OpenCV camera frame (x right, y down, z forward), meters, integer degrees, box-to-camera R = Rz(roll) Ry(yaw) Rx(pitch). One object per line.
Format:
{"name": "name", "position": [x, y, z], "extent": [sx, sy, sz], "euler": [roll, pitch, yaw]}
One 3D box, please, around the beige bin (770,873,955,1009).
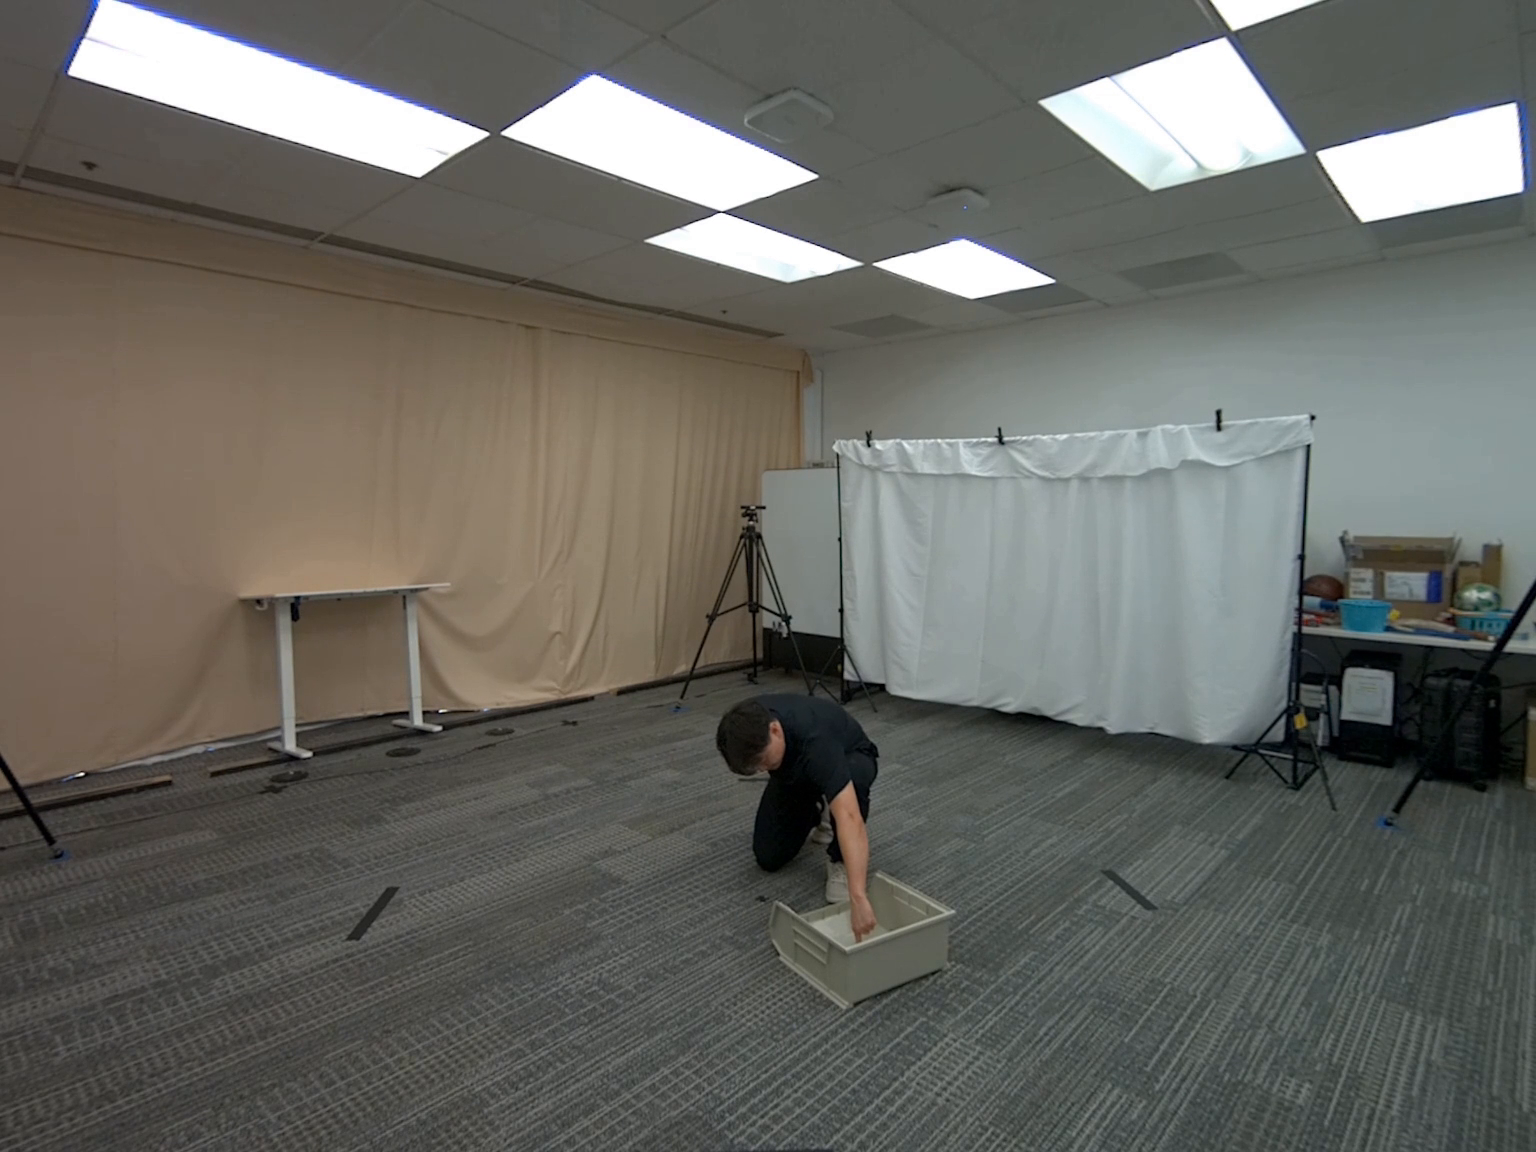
{"name": "beige bin", "position": [0.280, 1.082, 2.574], "extent": [0.410, 0.188, 0.389], "euler": [-2, 5, -33]}
